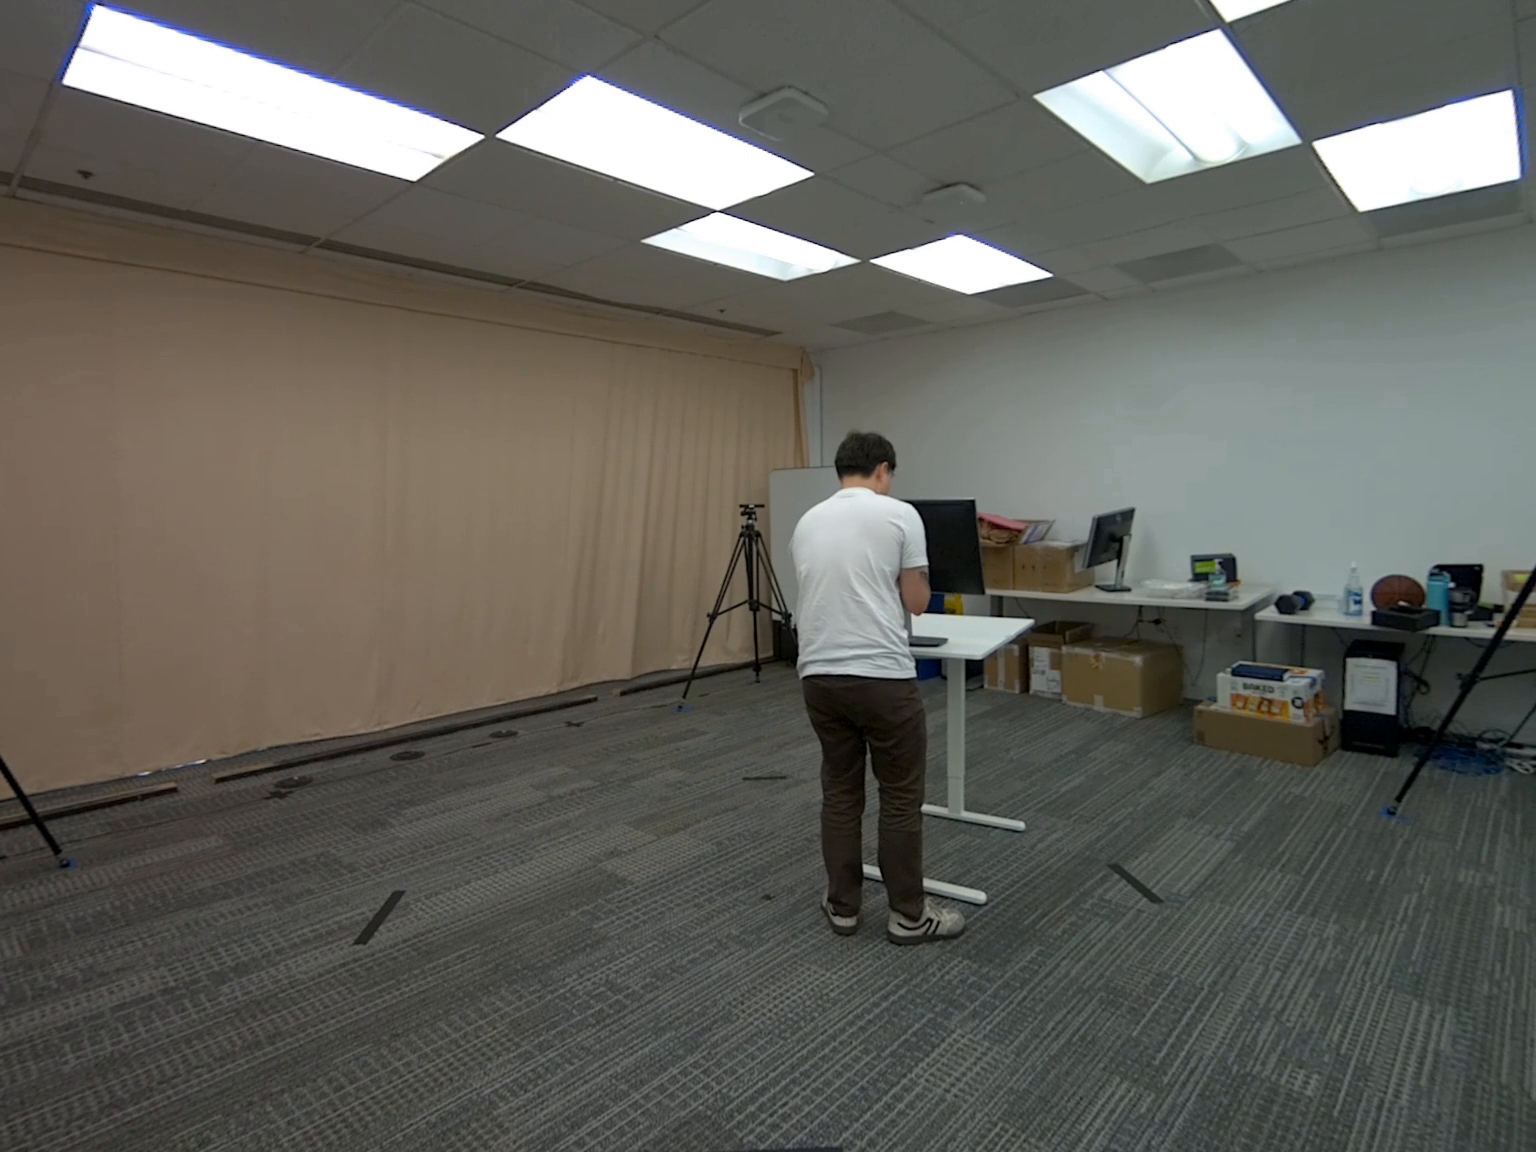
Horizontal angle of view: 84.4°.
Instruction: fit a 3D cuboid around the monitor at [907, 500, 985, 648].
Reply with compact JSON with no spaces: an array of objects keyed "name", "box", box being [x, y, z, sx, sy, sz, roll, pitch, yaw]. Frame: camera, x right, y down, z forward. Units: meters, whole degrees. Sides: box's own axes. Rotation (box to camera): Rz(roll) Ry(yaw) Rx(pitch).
[{"name":"monitor","box":[0.493,-0.013,3.016,0.555,0.520,0.182,2,7,32]}]
